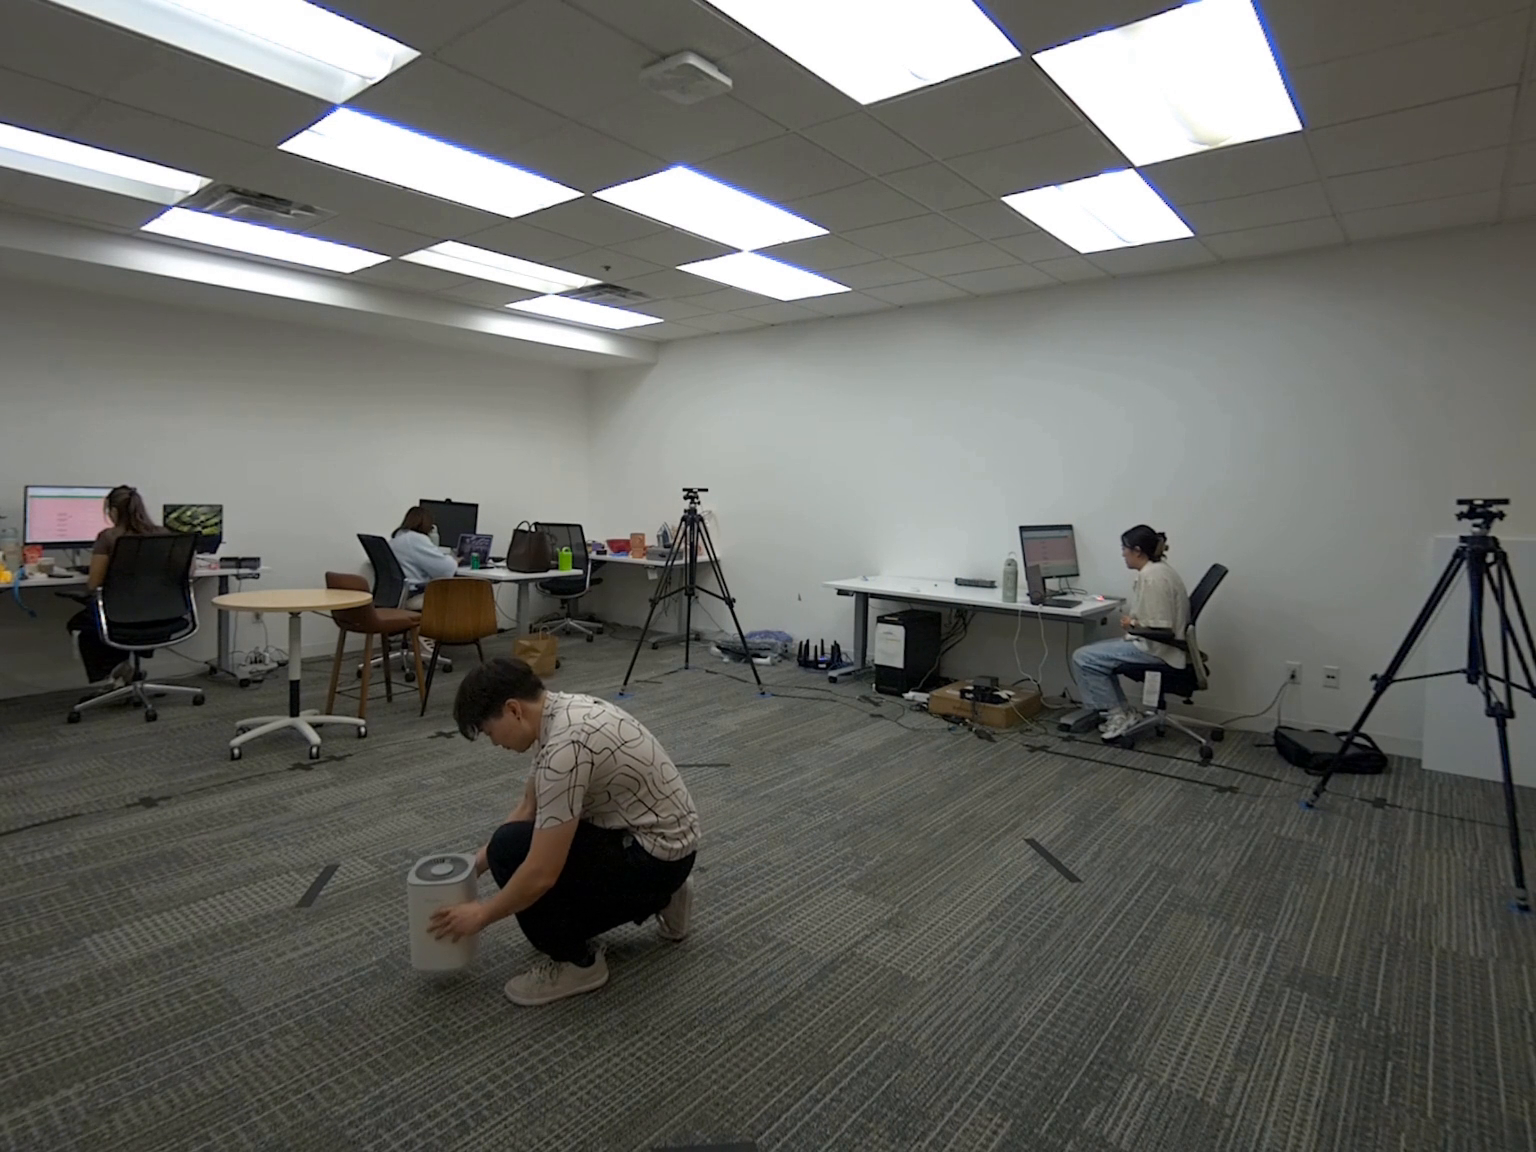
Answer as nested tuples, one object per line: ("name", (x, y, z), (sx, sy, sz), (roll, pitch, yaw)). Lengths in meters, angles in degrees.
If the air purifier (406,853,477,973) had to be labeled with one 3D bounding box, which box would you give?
("air purifier", (-0.909, 0.934, 2.364), (0.170, 0.264, 0.173), (-2, 7, -7))
